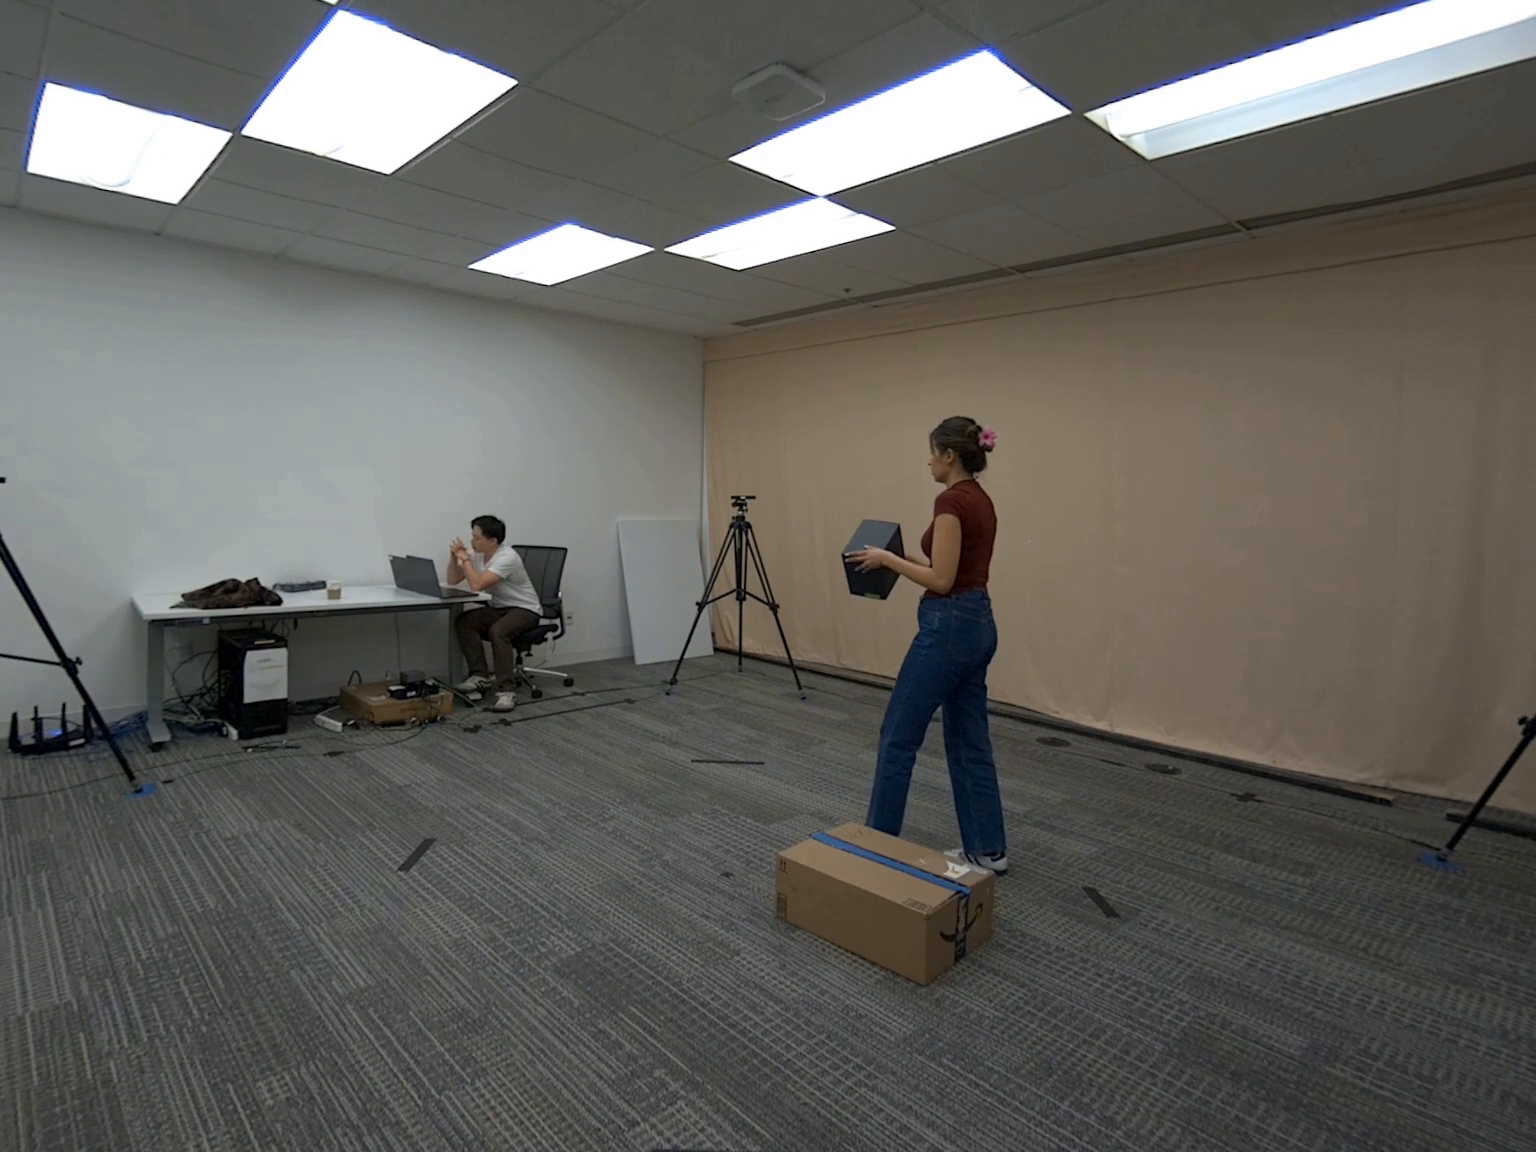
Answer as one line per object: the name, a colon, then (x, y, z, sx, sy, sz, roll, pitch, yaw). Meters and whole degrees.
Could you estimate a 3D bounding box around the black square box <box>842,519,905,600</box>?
black square box: (0.414, -0.065, 3.354, 0.159, 0.211, 0.229, 9, 46, 30)
